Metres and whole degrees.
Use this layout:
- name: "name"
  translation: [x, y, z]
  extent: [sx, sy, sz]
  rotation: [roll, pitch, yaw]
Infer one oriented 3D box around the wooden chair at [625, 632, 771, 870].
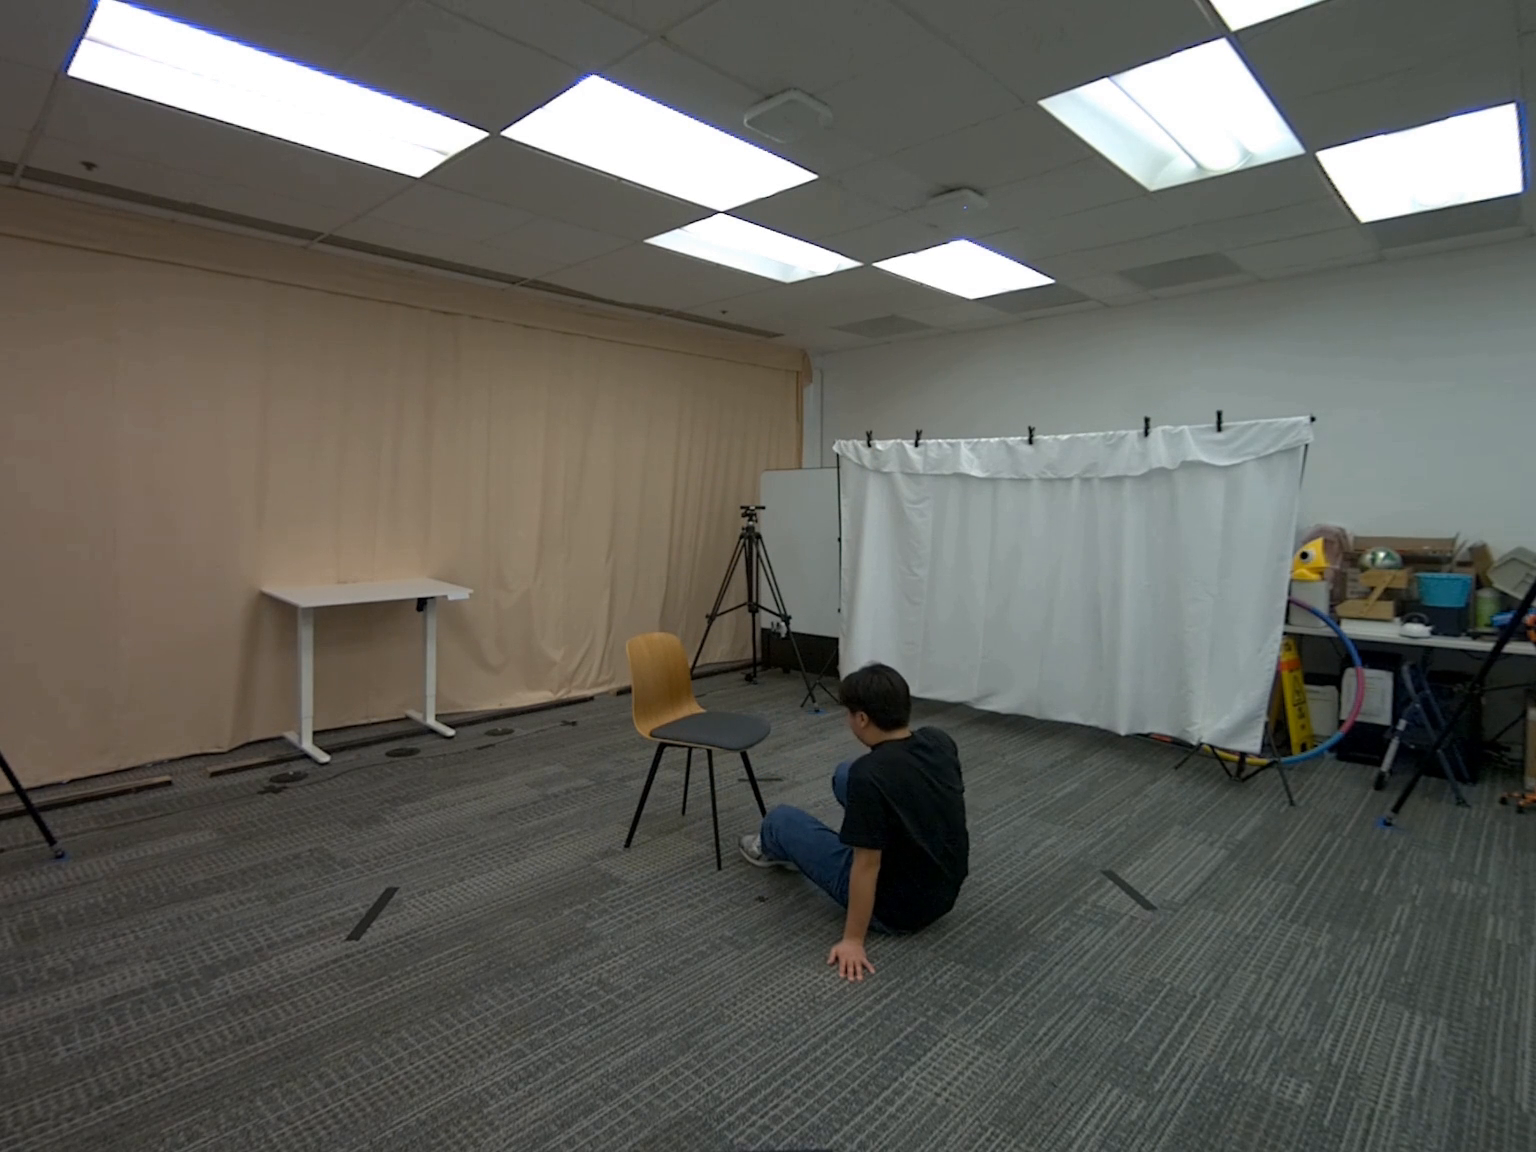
- name: "wooden chair"
  translation: [-0.280, 0.677, 3.486]
  extent: [0.537, 0.877, 0.466]
  rotation: [-4, 1, 29]
